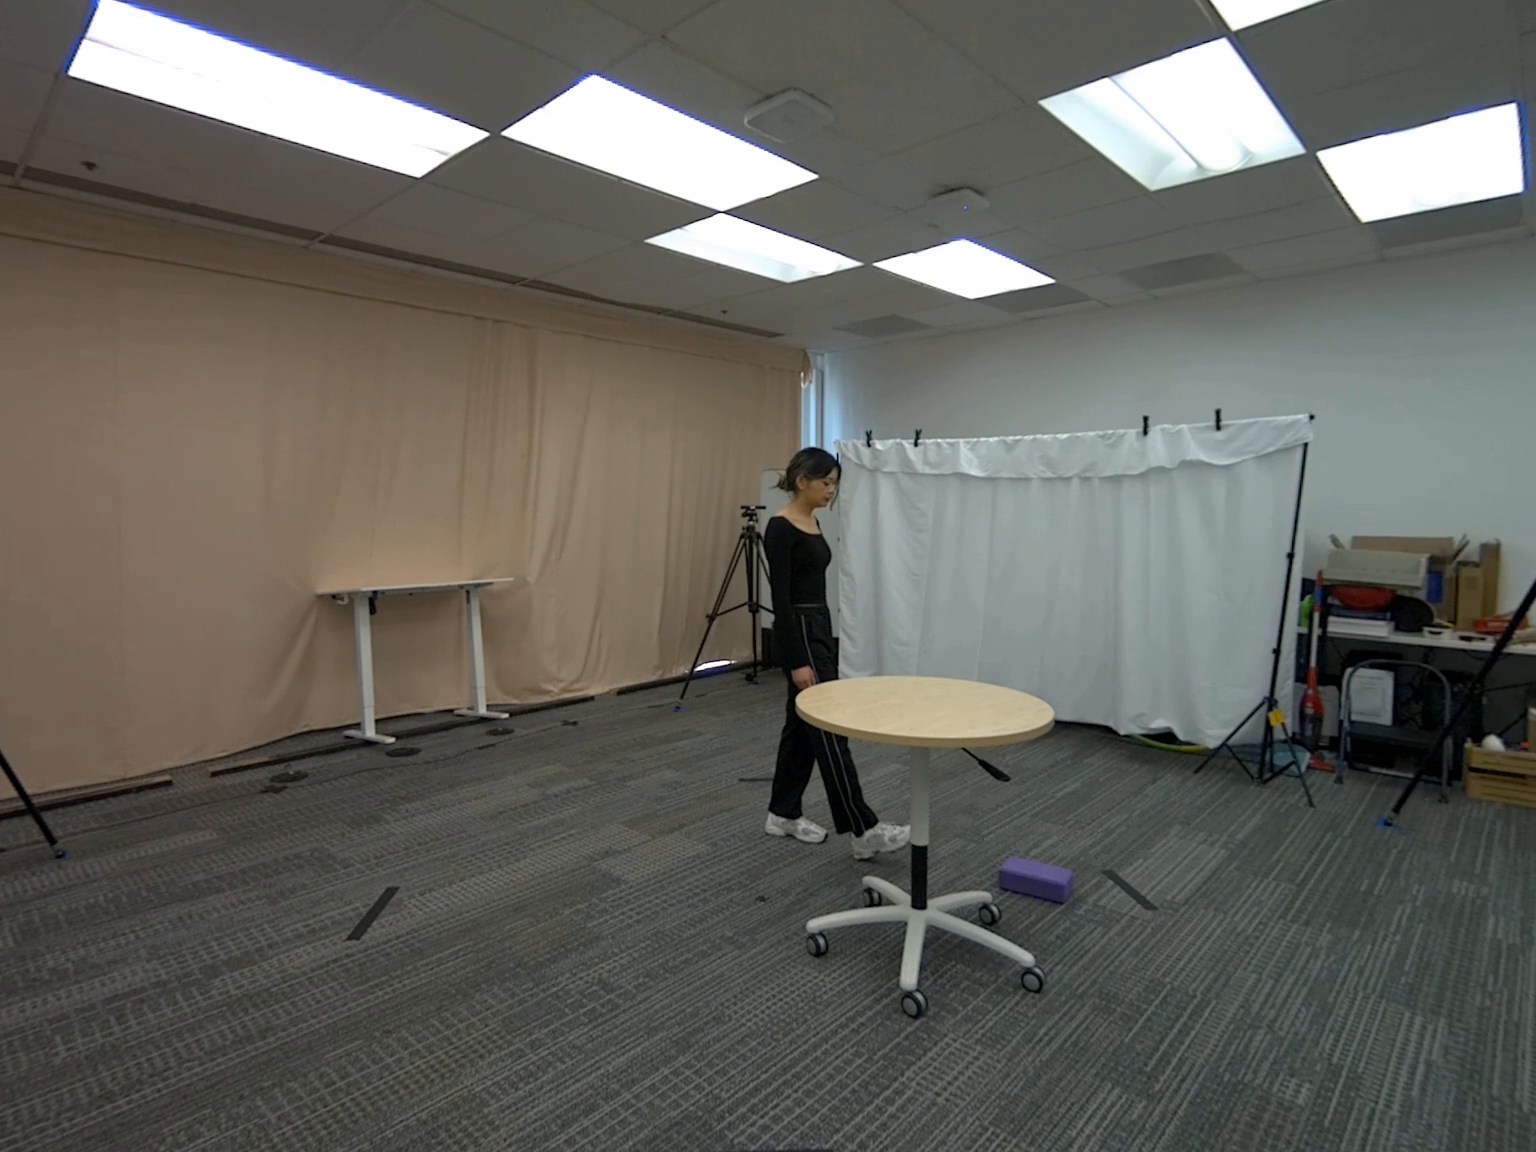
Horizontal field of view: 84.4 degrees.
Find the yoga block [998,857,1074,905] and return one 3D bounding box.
[{"bbox_3d":[0.977,1.097,3.047,0.236,0.076,0.145,4,5,33],"label":"yoga block"}]
